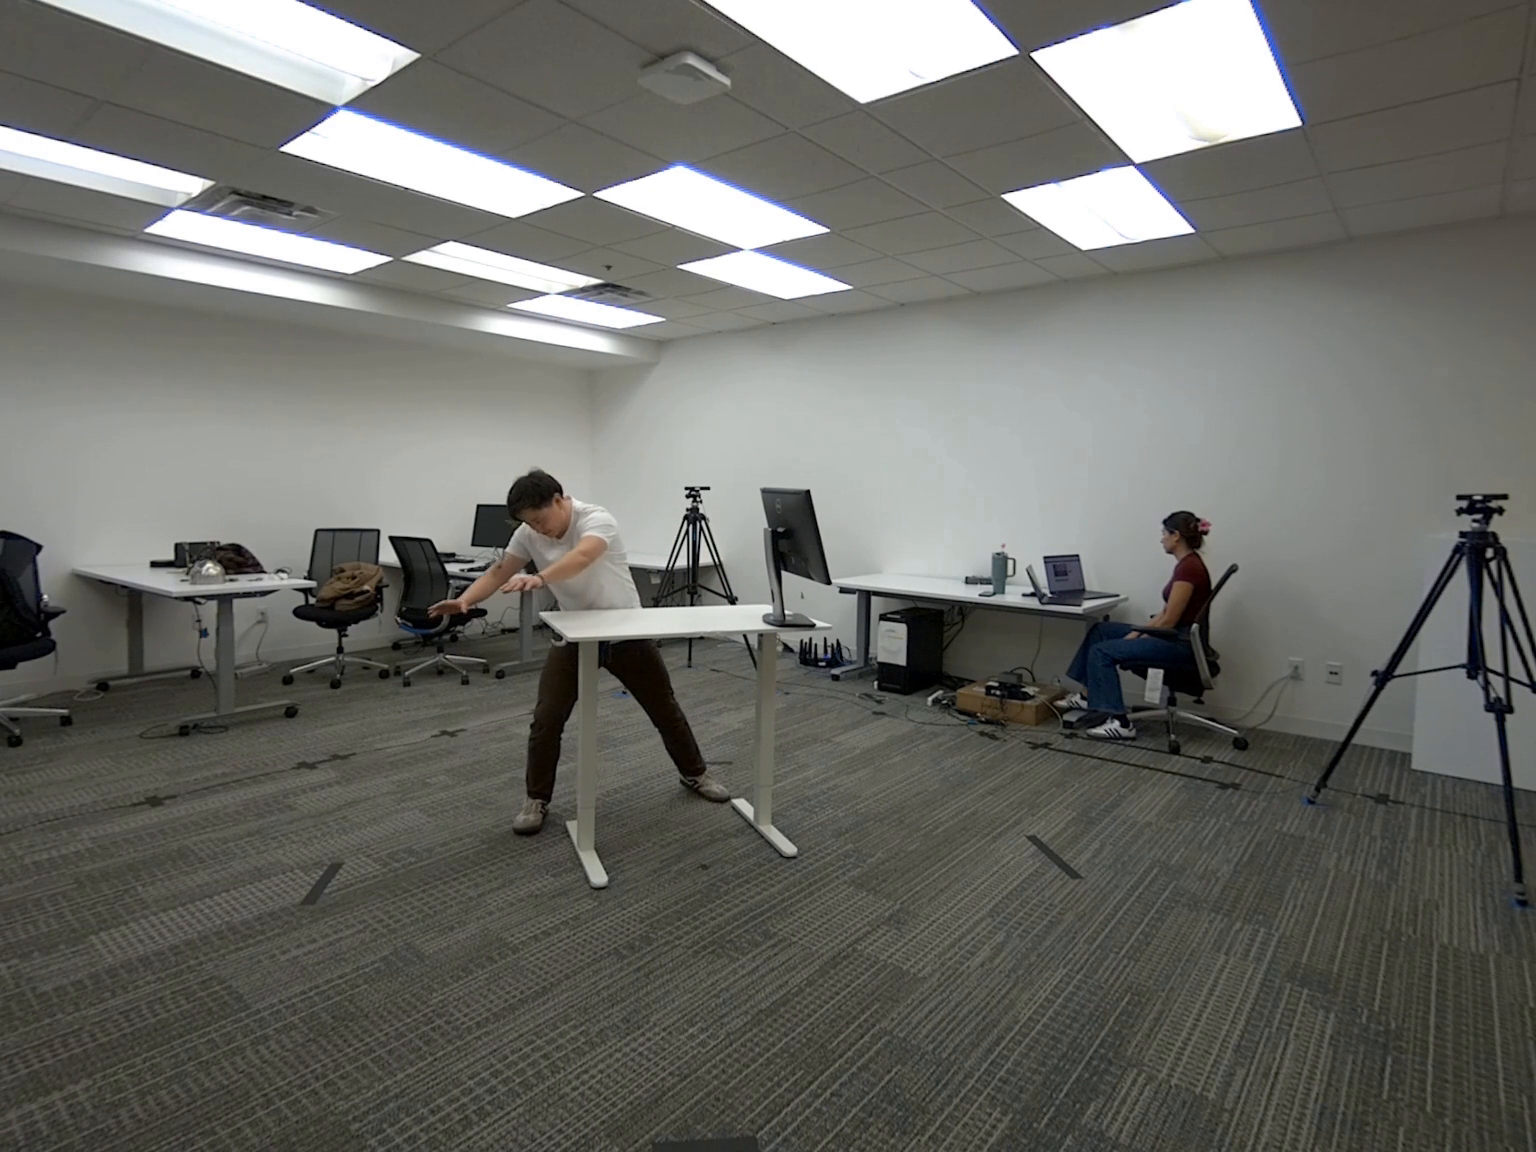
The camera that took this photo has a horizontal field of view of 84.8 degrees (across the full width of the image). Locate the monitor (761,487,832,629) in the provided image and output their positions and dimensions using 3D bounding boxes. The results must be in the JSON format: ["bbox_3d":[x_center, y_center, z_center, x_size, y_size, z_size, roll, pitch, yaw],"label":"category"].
[{"bbox_3d":[0.059,-0.077,3.256,0.183,0.520,0.552,-1,5,-21],"label":"monitor"}]
